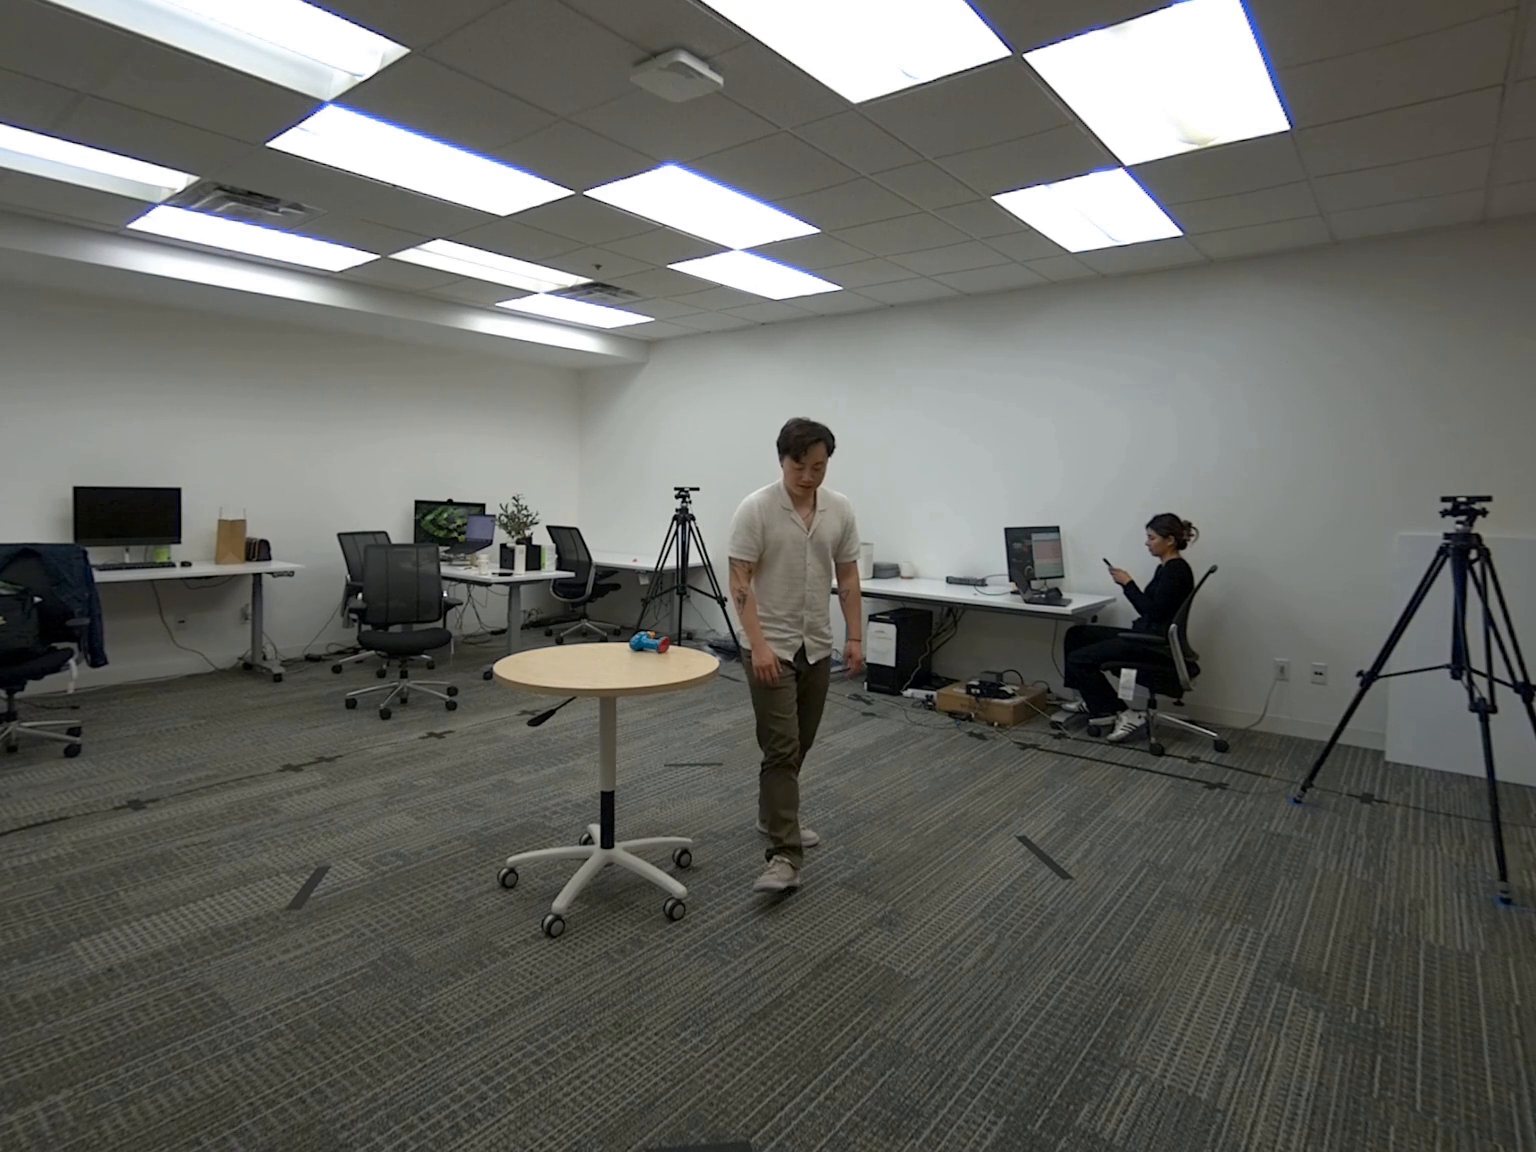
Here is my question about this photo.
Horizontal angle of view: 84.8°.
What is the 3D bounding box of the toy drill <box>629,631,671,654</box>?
[{"bbox_3d":[-0.442,0.240,3.176,0.149,0.060,0.168,3,12,20],"label":"toy drill"}]
